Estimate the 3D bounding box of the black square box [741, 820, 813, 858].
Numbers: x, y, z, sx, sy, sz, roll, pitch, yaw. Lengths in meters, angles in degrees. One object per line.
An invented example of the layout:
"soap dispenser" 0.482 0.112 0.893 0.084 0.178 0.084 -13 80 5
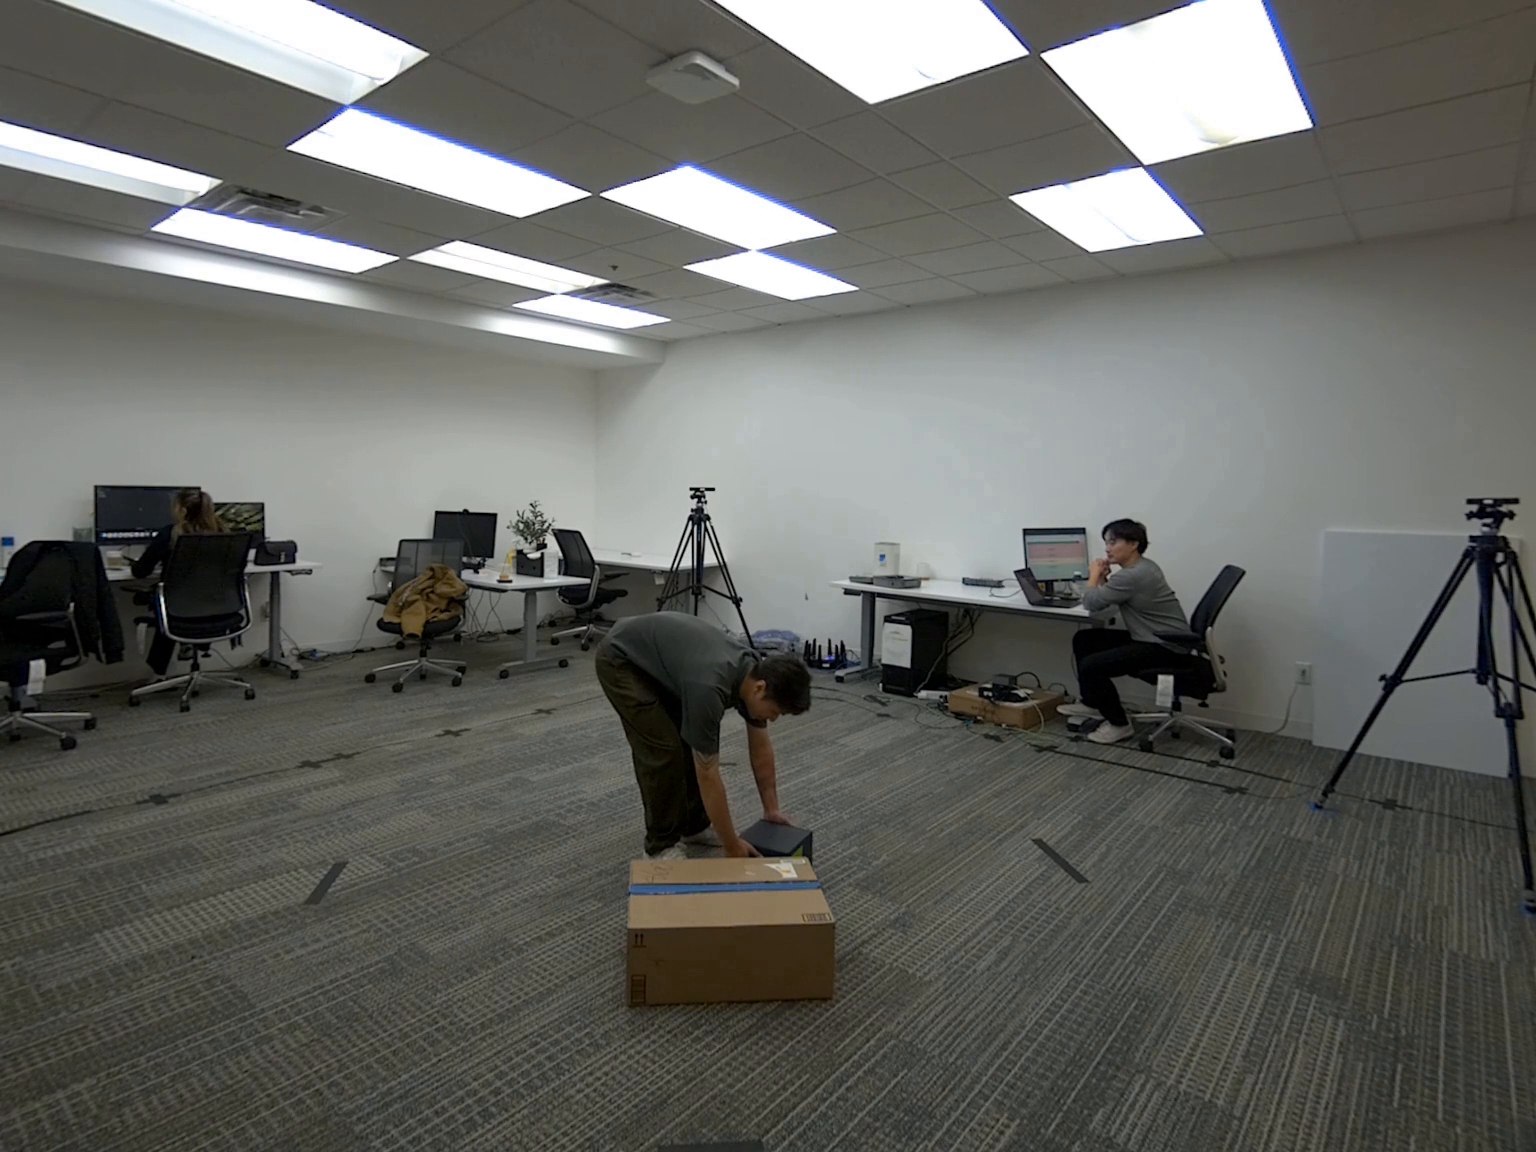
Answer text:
"black square box" 0.010 0.999 3.035 0.223 0.155 0.222 4 5 26
